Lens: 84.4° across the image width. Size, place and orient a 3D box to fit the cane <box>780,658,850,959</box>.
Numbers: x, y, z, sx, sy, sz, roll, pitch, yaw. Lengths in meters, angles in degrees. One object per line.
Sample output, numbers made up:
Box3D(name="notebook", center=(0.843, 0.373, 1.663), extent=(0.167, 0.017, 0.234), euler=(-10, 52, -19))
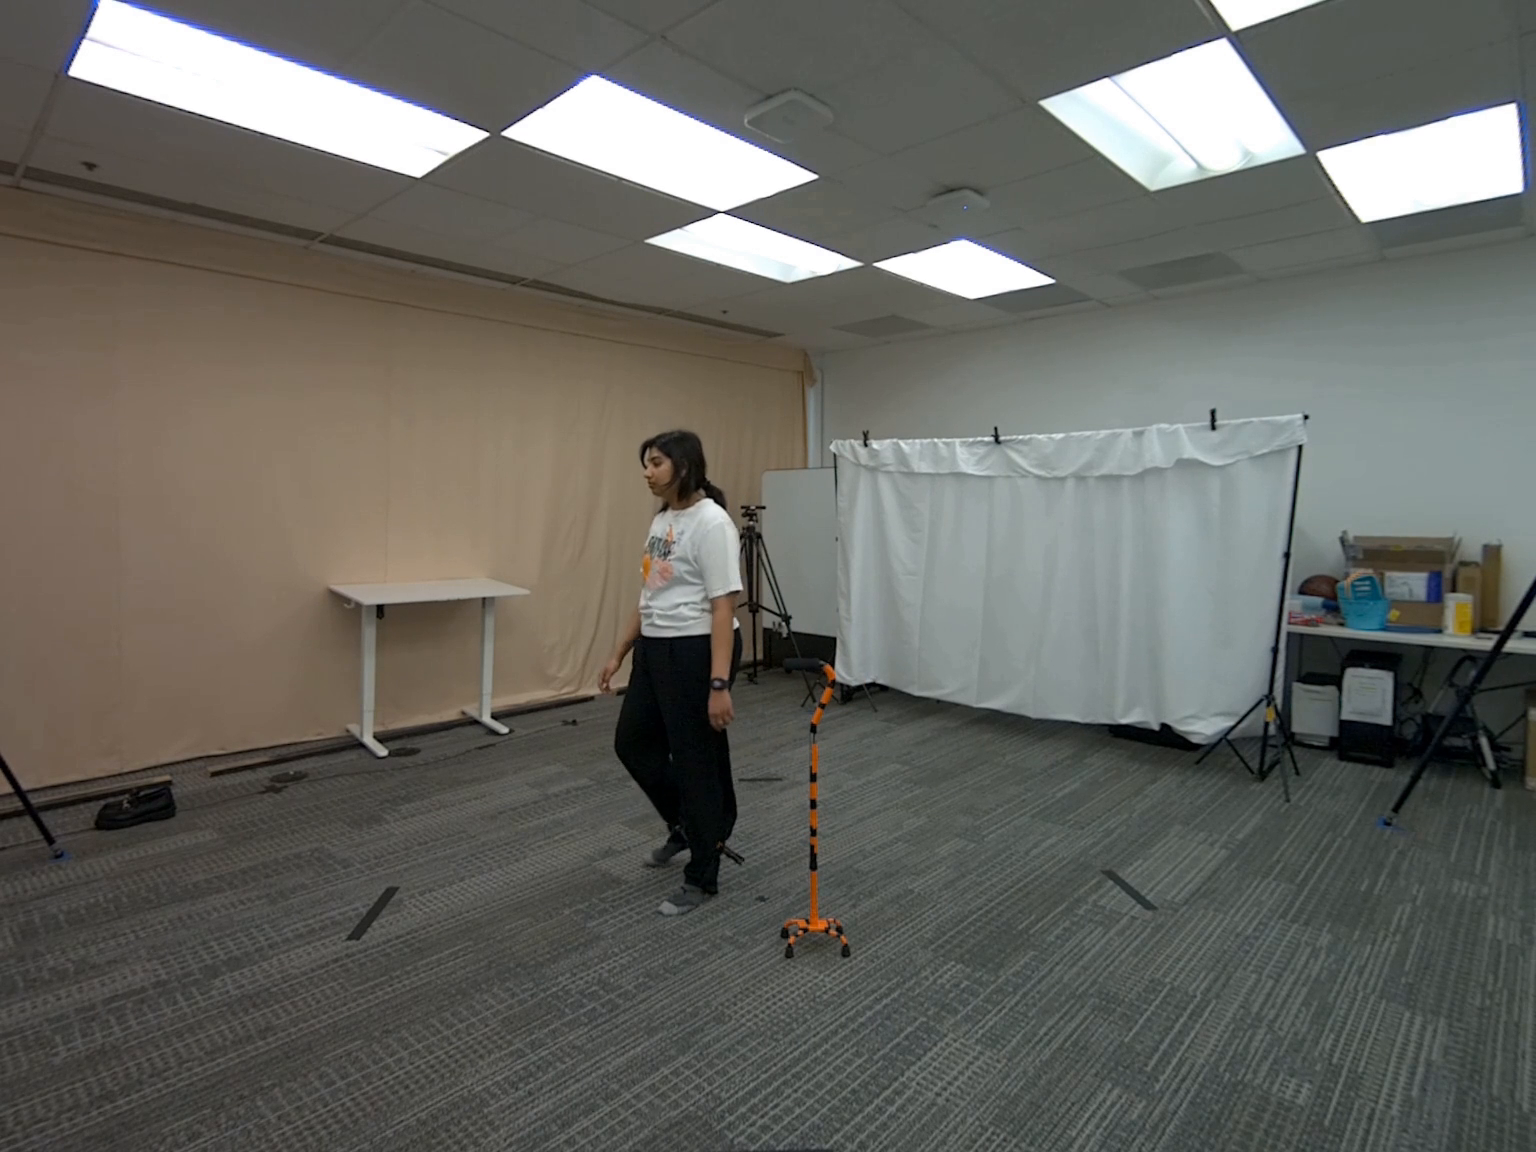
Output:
Box3D(name="cane", center=(0.151, 0.723, 2.644), extent=(0.206, 0.906, 0.152), euler=(0, 2, -3))
